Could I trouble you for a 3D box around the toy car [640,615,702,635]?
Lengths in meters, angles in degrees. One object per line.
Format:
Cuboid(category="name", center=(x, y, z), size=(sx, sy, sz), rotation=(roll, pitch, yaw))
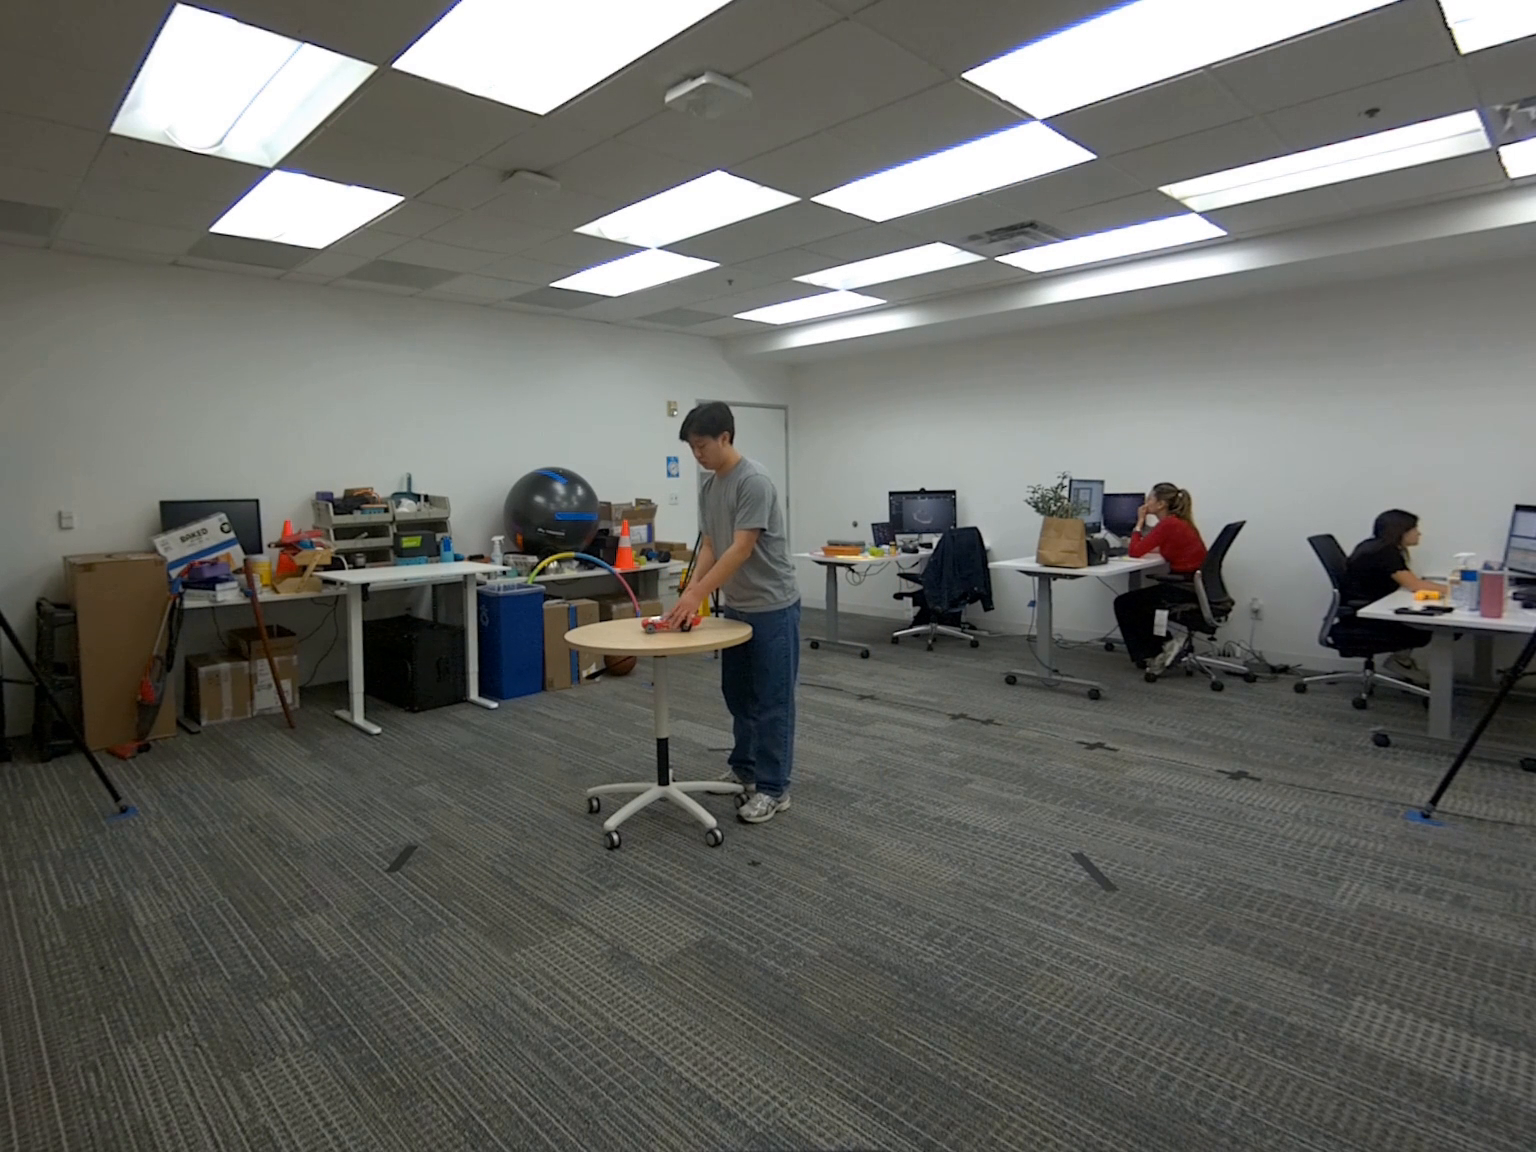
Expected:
Cuboid(category="toy car", center=(-0.391, 0.192, 3.502), size=(0.253, 0.083, 0.131), rotation=(-13, 7, -5))
